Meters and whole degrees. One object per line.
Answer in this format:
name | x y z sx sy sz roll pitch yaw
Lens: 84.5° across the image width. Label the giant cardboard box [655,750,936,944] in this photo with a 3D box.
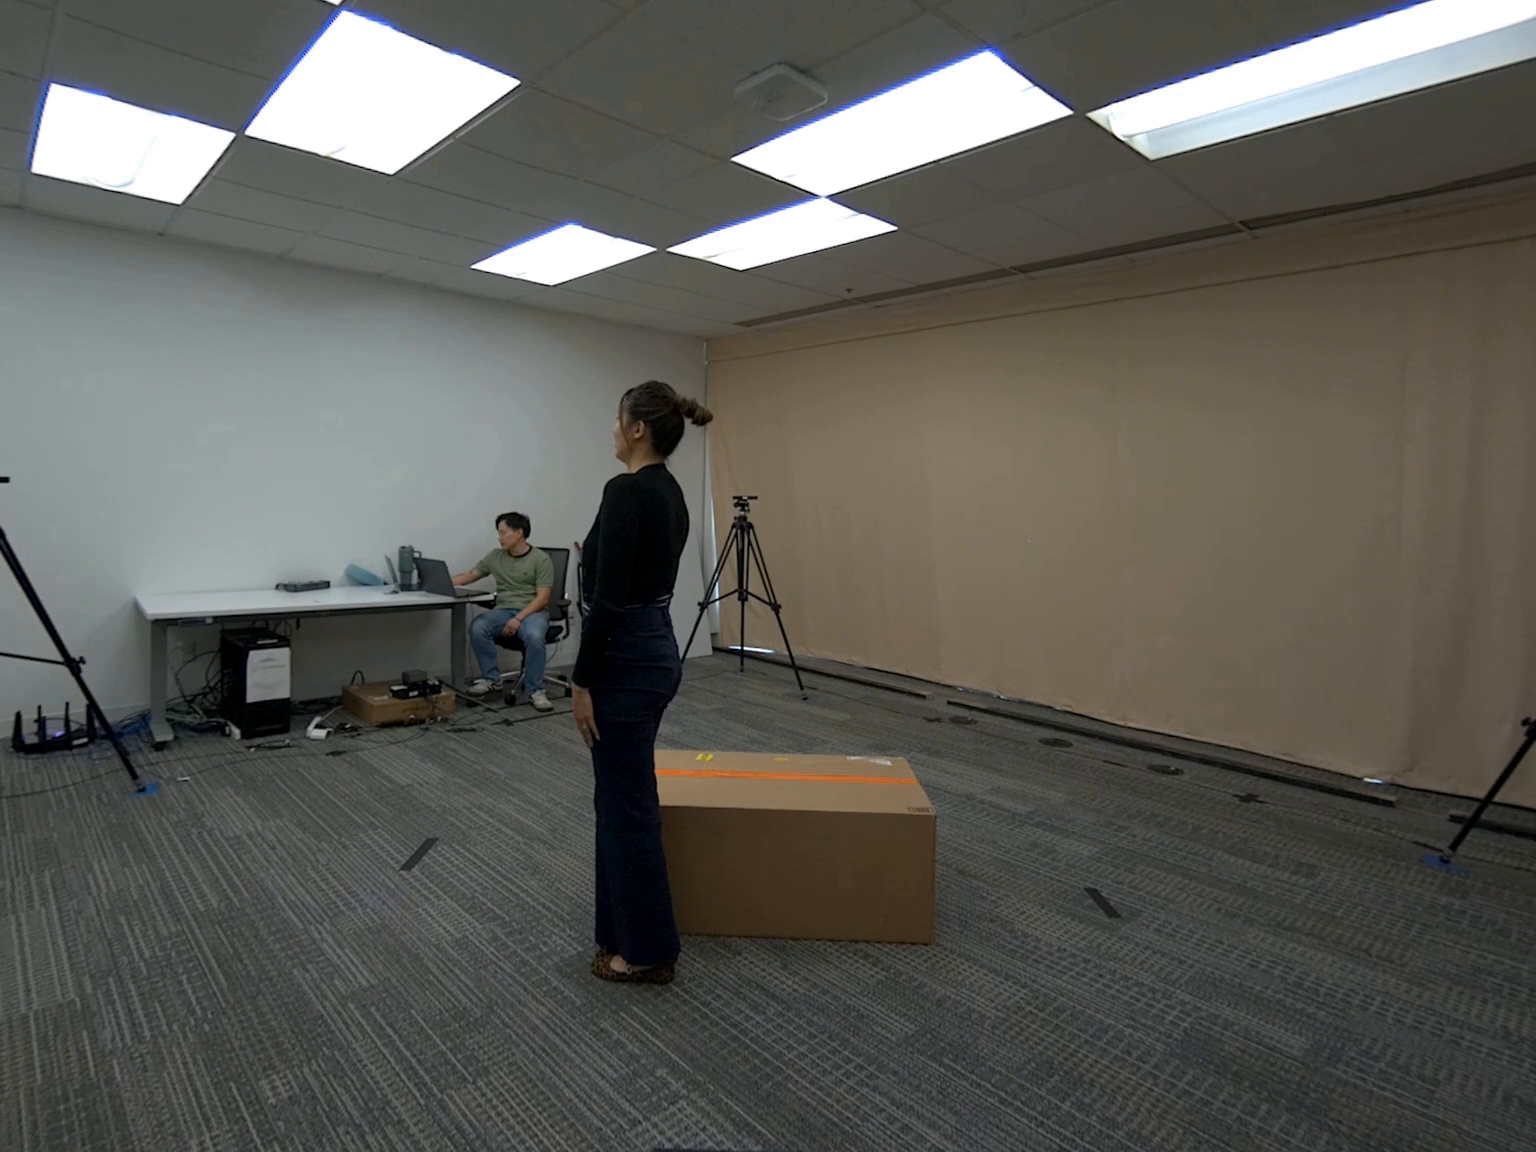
giant cardboard box | 0.007 0.906 2.925 1.027 0.425 0.578 1 4 1
